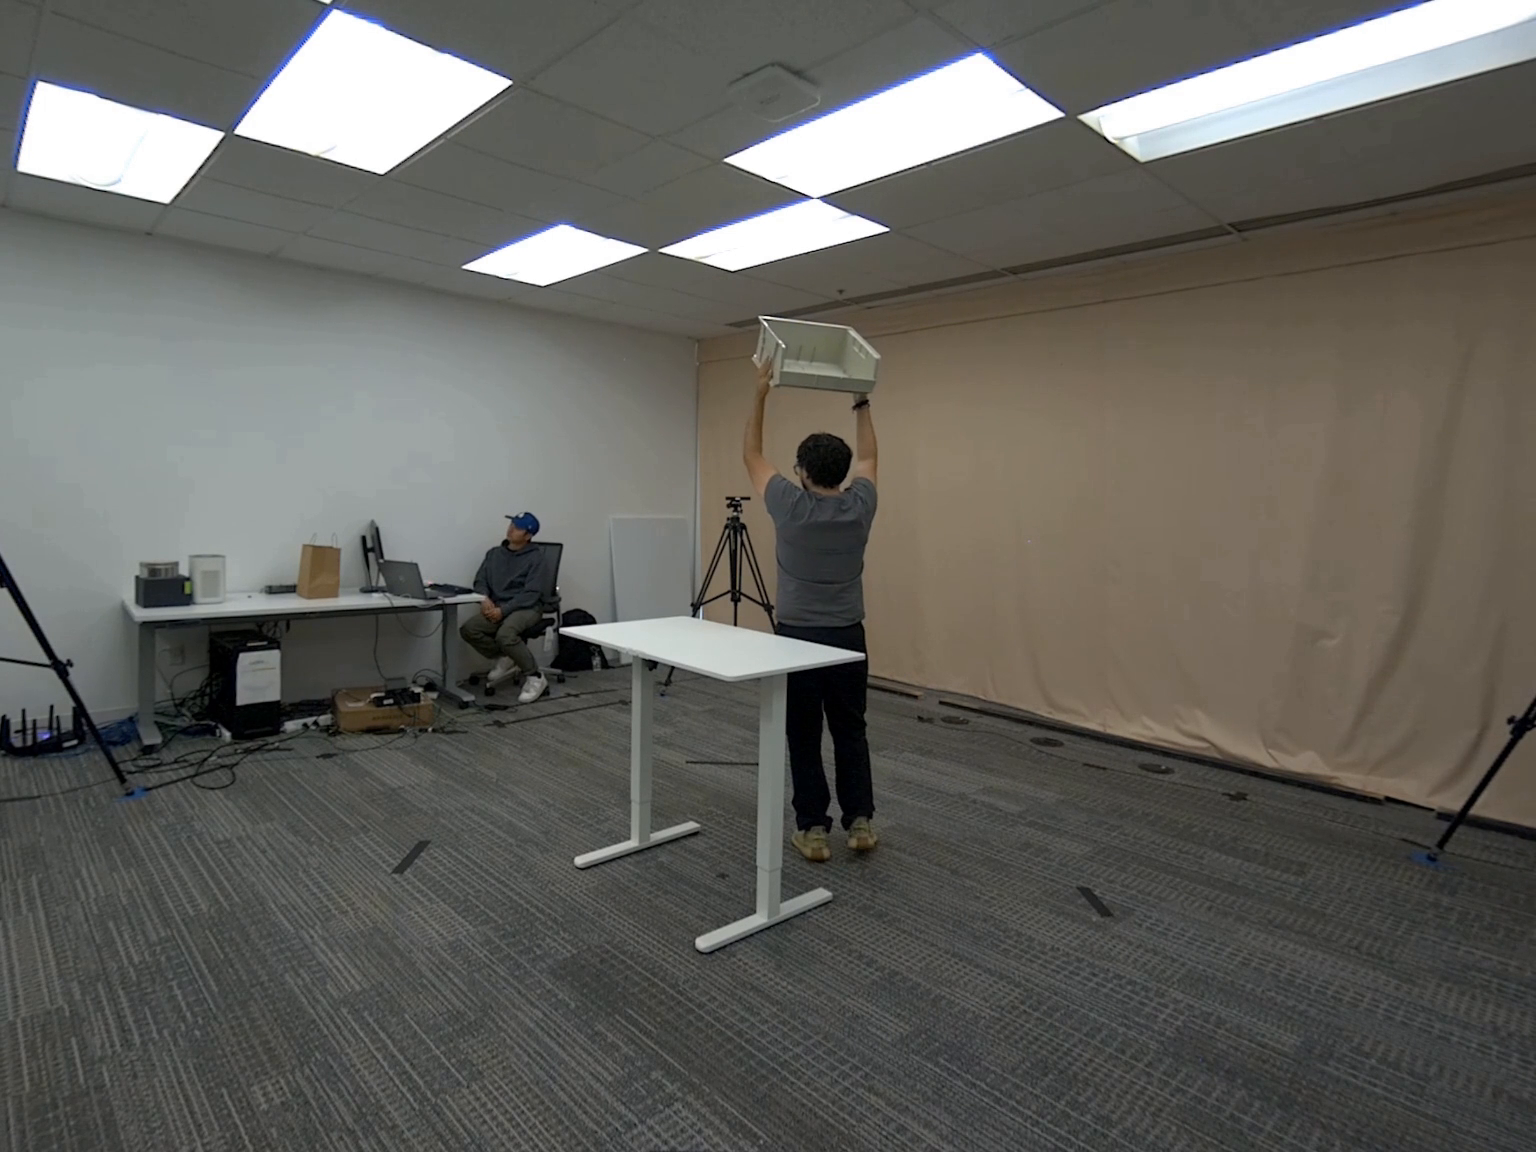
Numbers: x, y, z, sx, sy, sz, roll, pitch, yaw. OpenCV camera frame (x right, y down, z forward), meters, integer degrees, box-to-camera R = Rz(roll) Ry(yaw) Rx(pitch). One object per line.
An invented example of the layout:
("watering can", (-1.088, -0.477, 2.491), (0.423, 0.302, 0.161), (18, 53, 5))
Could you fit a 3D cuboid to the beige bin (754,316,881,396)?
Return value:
("beige bin", (0.184, -0.892, 3.448), (0.416, 0.186, 0.388), (1, 33, -18))
